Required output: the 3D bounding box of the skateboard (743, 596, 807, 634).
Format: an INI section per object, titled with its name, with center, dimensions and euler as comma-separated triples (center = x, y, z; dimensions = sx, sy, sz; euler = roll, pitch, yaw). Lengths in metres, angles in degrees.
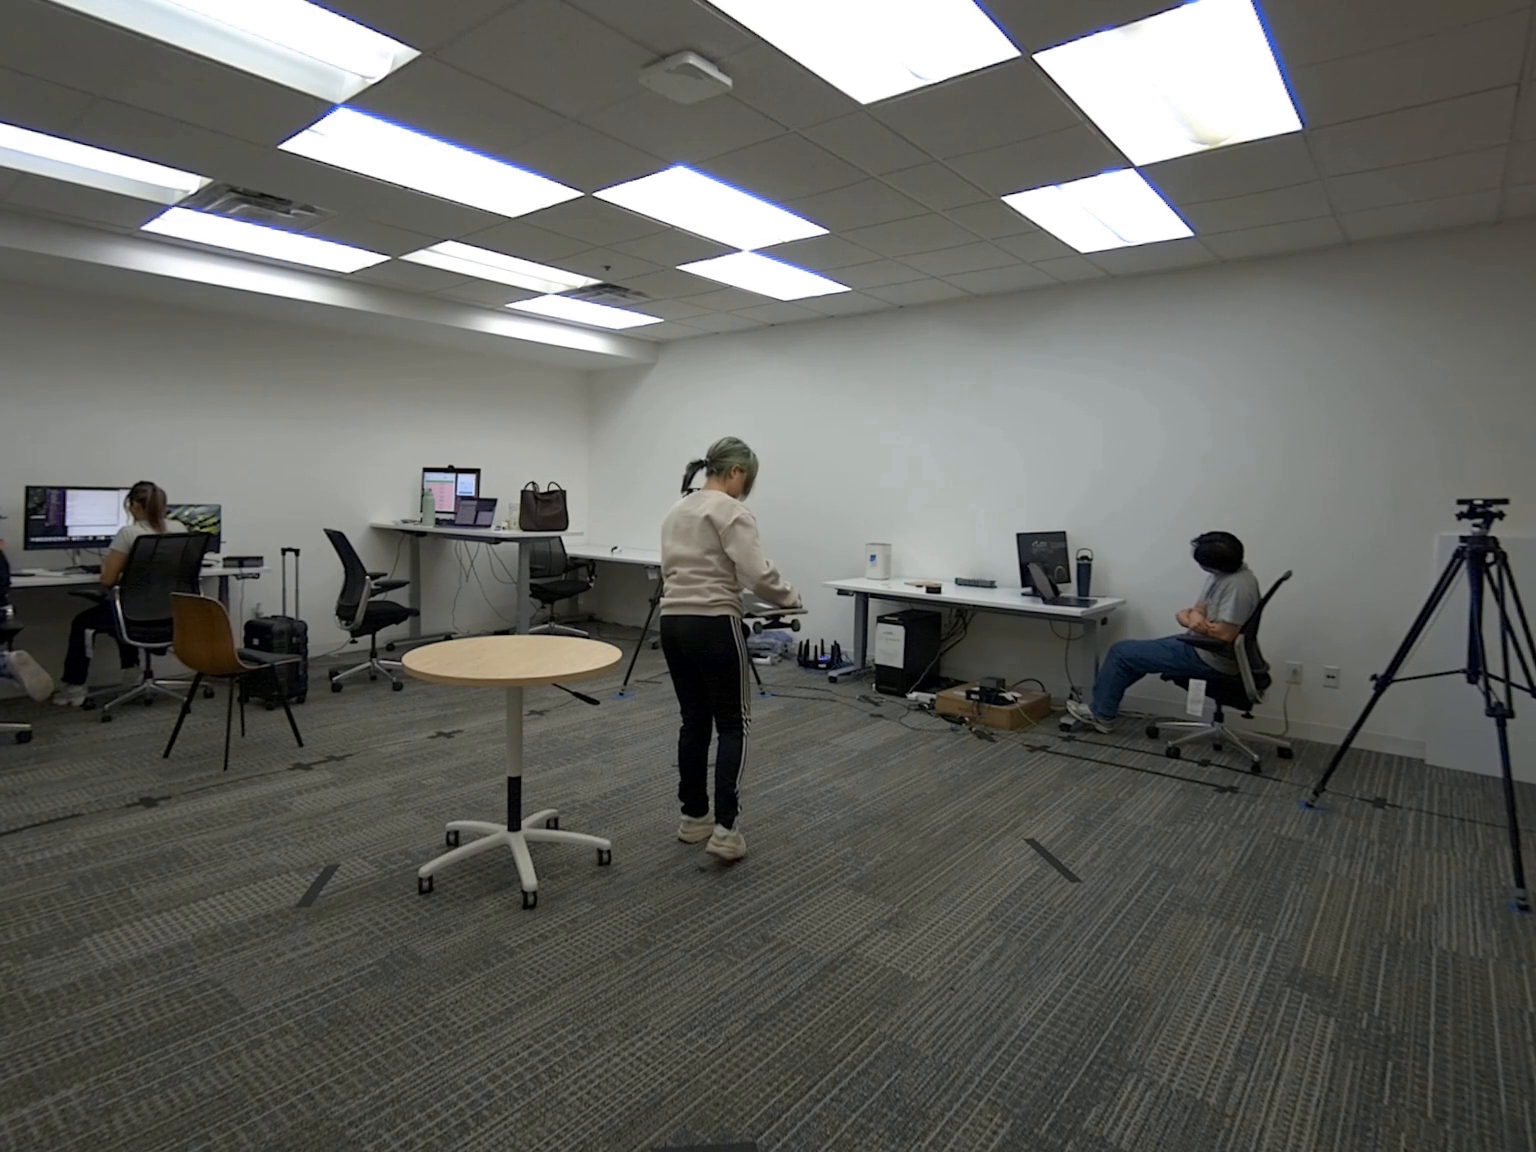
[skateboard]
center = -0.025, 0.157, 3.490
dimensions = 0.191, 0.110, 0.799
euler = -5, 5, -16
